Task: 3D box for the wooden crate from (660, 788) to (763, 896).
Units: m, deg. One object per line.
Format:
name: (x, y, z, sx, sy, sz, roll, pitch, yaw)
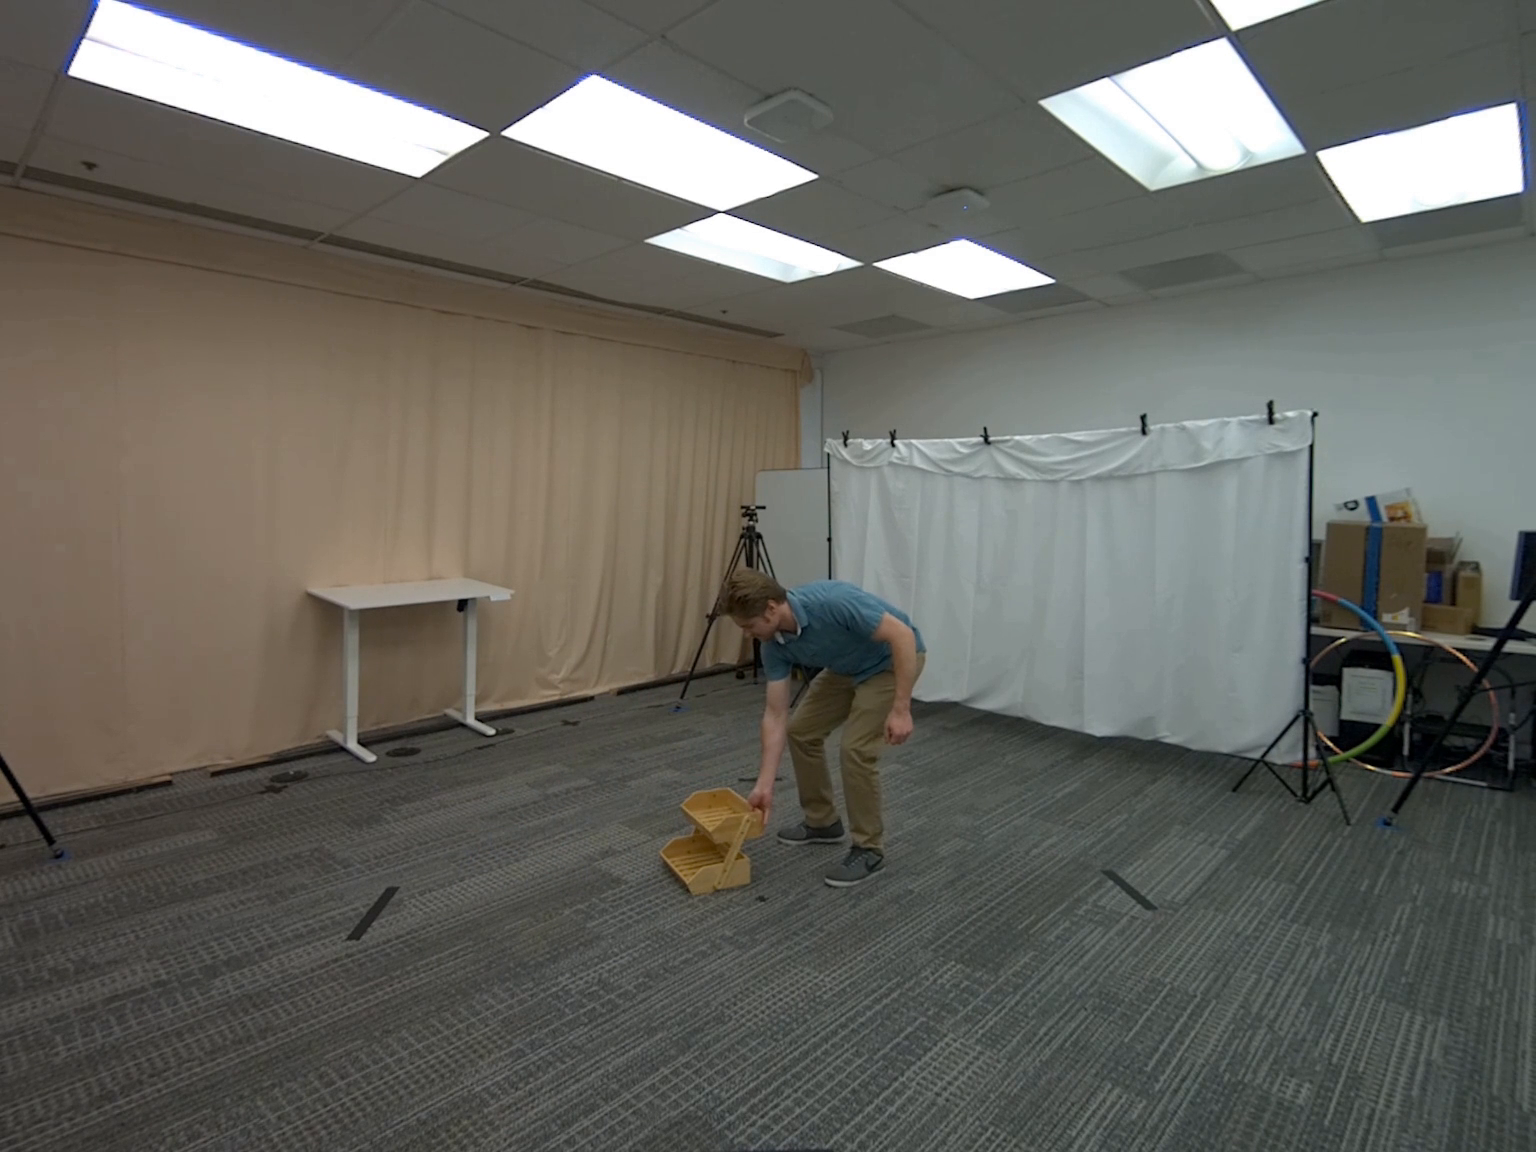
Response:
wooden crate: (-0.223, 0.994, 3.196, 0.294, 0.273, 0.333, -1, 4, -27)
